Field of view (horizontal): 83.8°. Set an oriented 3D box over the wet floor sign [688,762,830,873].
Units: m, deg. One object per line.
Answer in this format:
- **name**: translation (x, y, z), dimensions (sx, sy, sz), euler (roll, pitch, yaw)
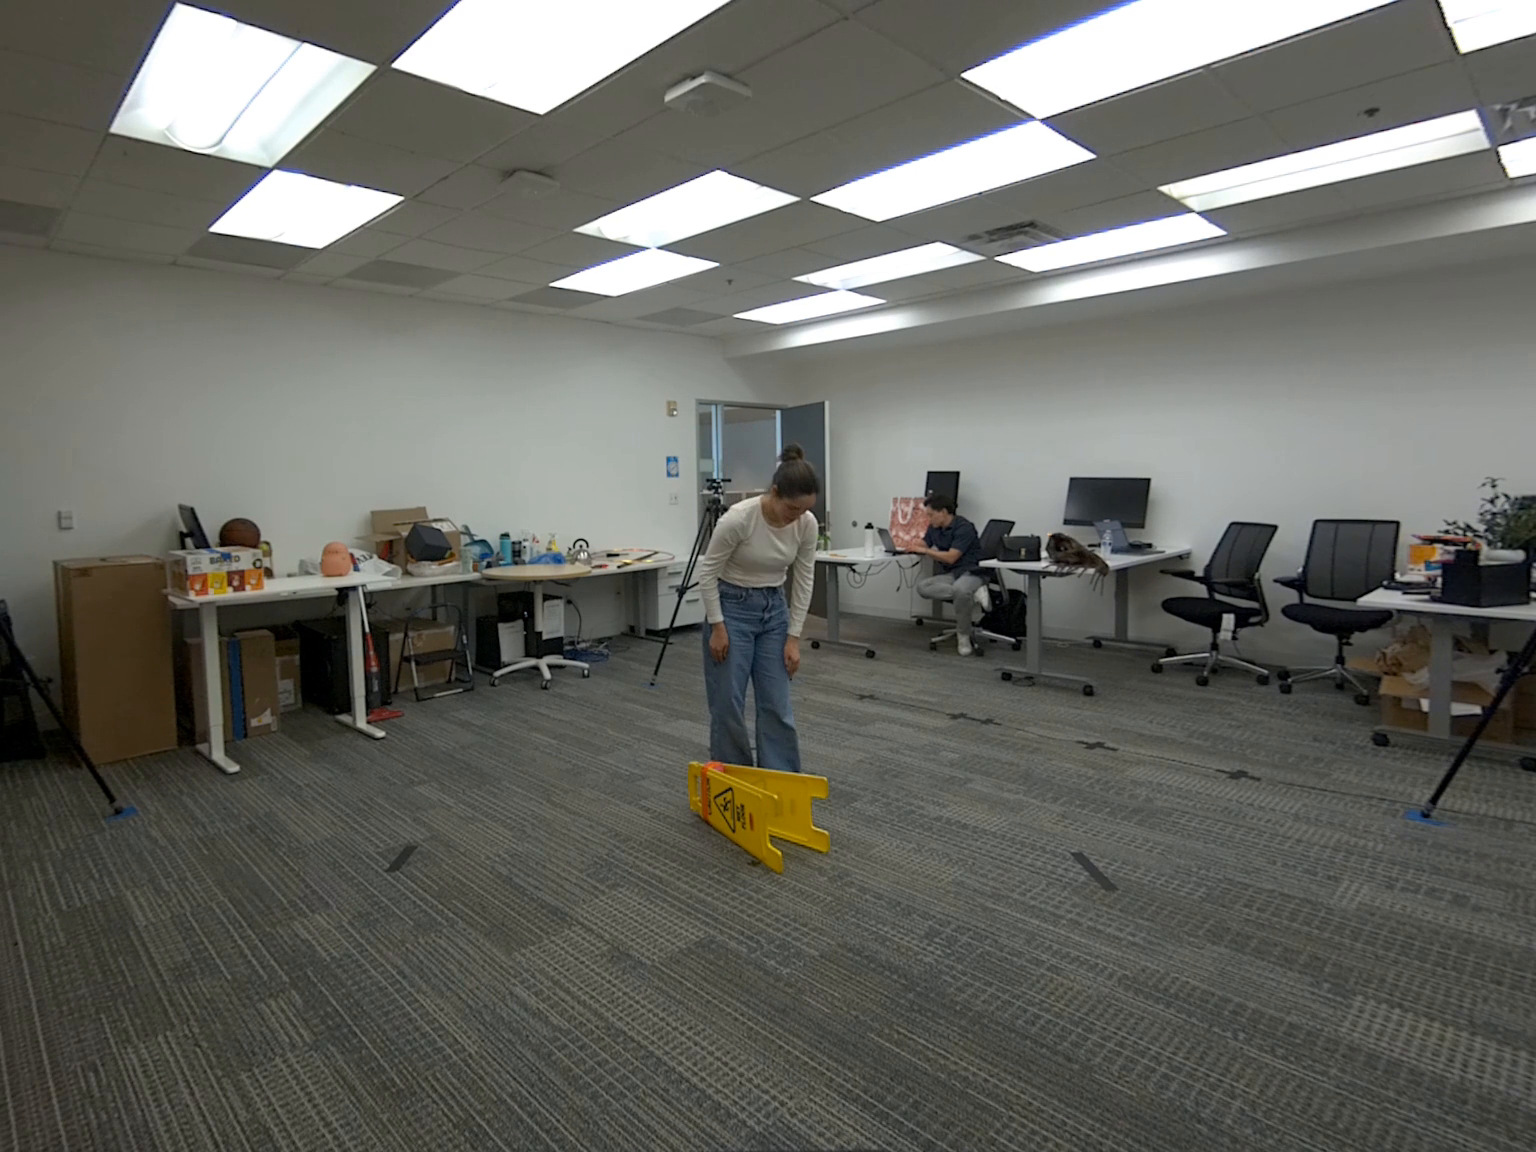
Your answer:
- **wet floor sign**: translation (-0.097, 0.891, 3.336), dimensions (0.282, 0.281, 0.665), euler (-5, 6, -44)
